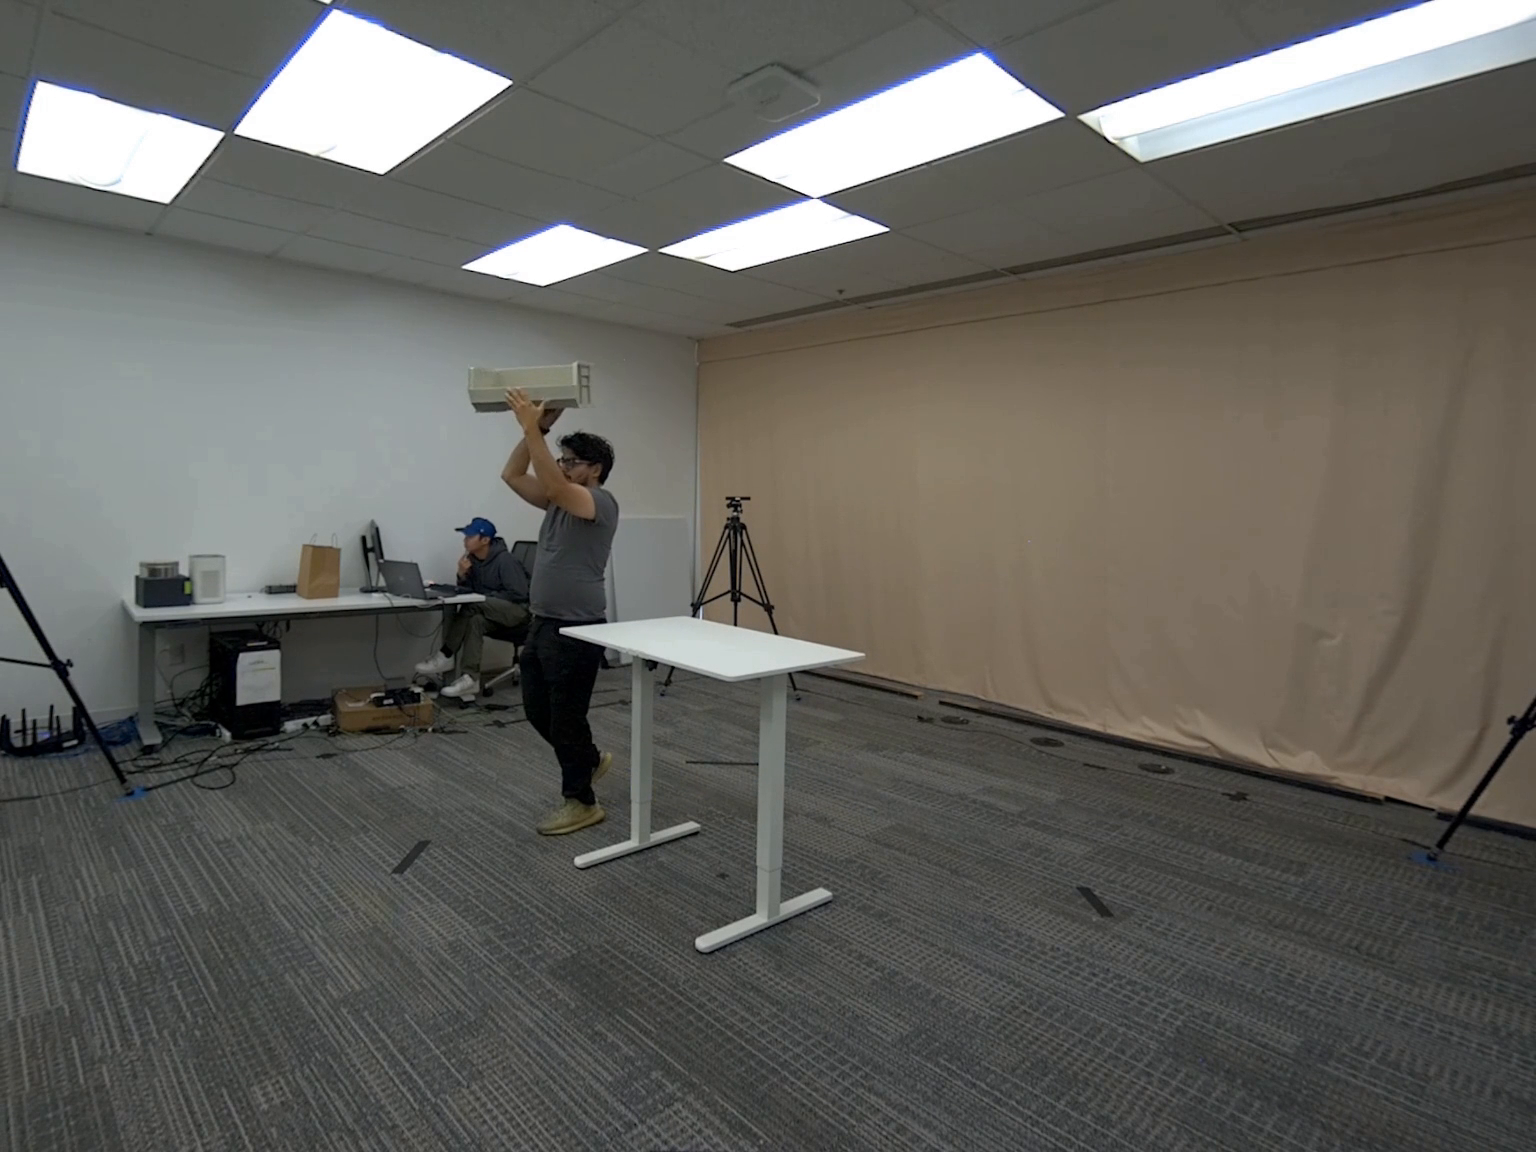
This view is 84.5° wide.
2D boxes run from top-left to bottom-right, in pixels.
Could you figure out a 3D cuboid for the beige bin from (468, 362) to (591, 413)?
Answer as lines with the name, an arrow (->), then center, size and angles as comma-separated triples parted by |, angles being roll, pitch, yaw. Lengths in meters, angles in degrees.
beige bin -> -0.939, -0.753, 3.357 | 0.423, 0.187, 0.380 | -5, 11, 1
